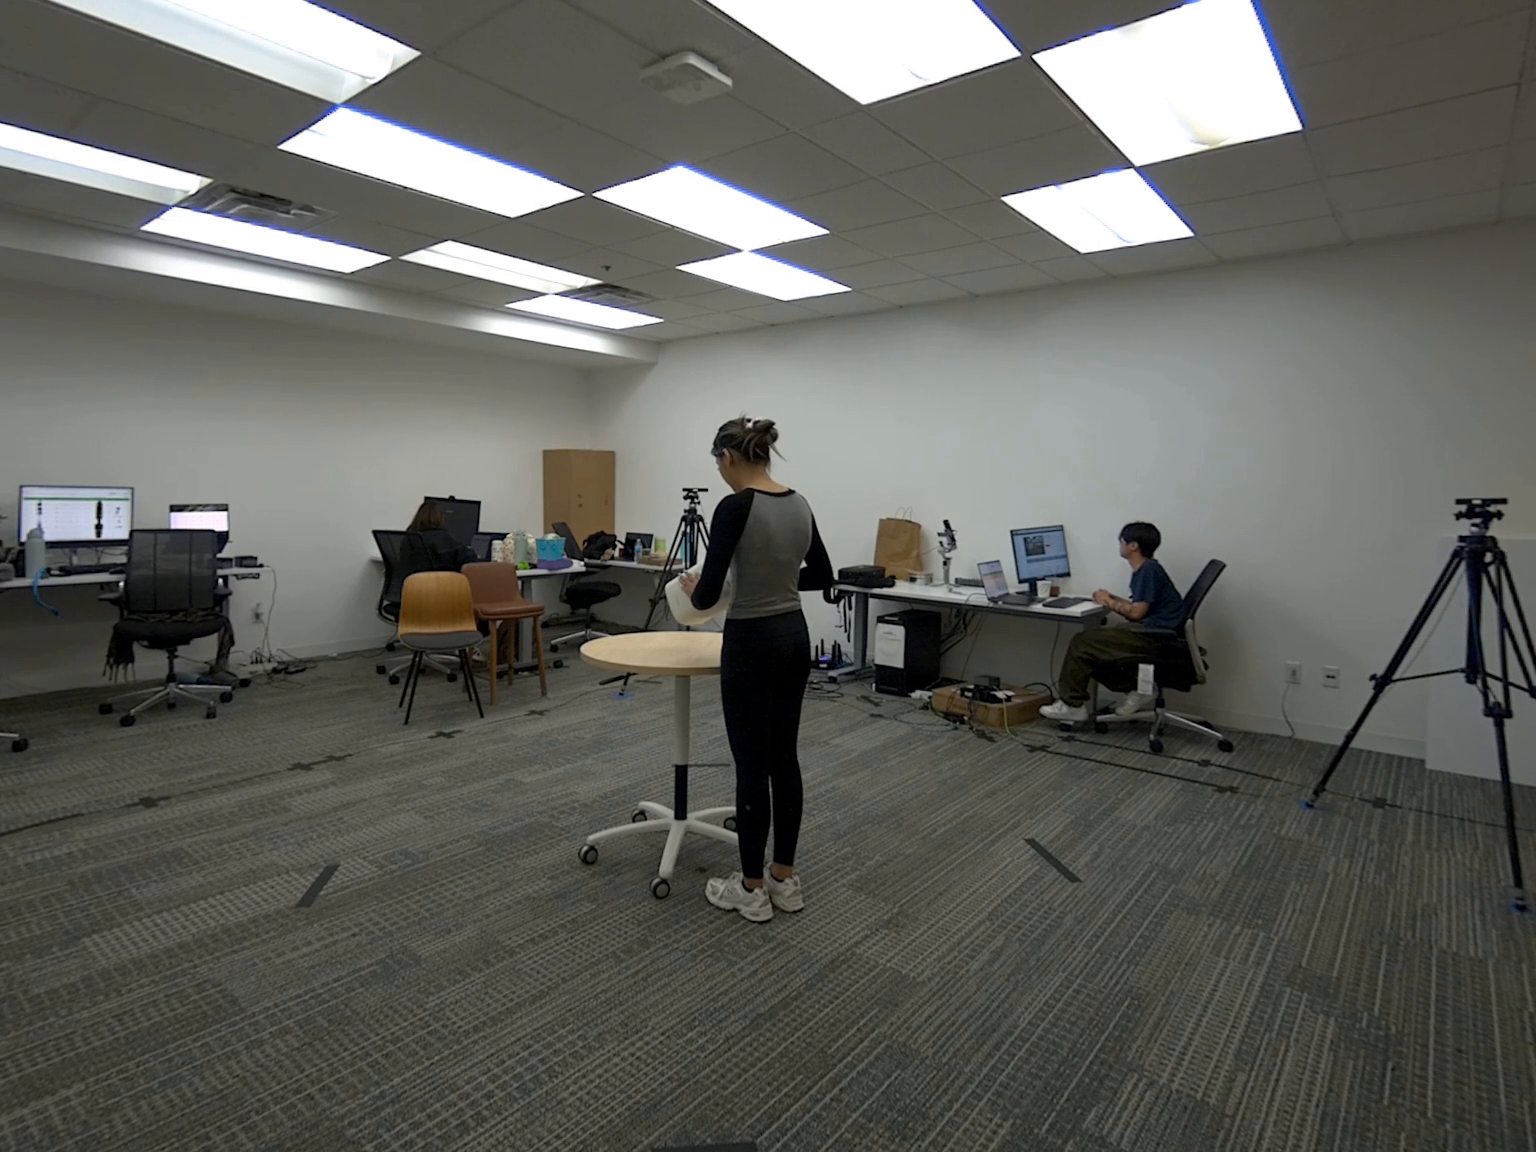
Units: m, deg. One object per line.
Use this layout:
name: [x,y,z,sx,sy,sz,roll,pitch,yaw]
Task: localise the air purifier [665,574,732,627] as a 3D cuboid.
air purifier: [-0.220,0.040,2.997,0.268,0.175,0.166,-33,-23,33]
